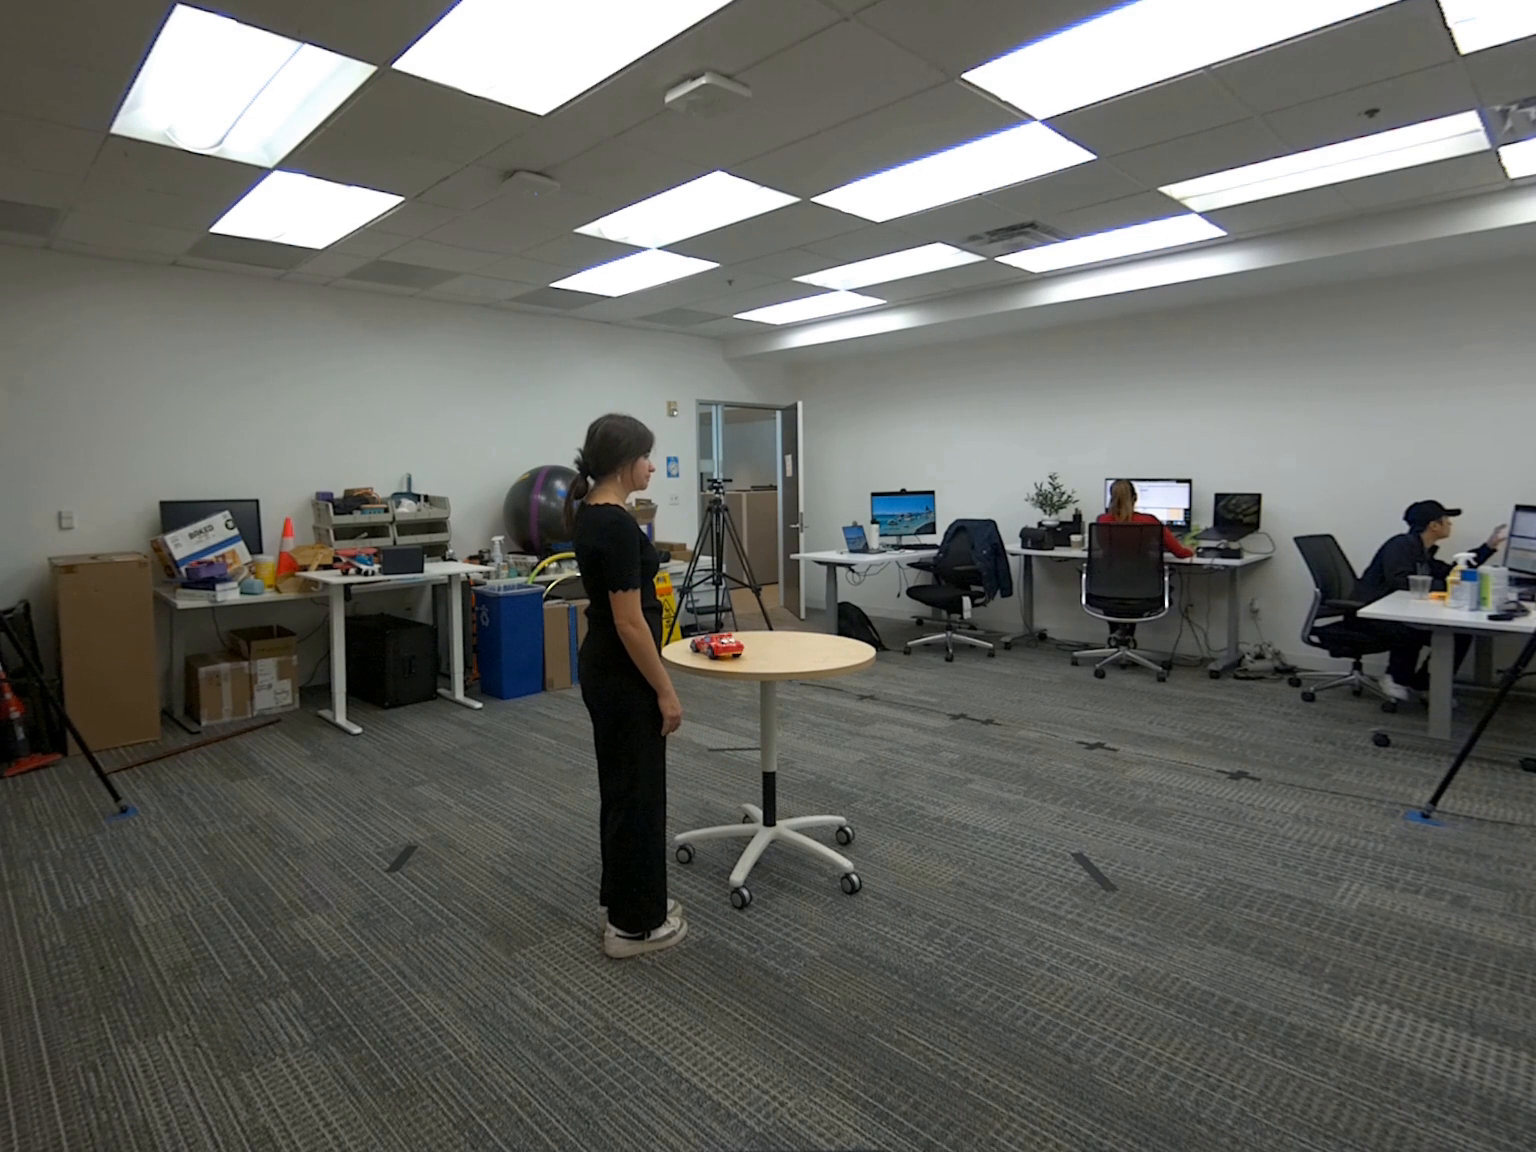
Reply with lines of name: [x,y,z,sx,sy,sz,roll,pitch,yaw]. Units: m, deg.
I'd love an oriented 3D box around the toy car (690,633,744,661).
toy car: [-0.166,0.244,2.964,0.127,0.084,0.258,-2,-6,-25]
